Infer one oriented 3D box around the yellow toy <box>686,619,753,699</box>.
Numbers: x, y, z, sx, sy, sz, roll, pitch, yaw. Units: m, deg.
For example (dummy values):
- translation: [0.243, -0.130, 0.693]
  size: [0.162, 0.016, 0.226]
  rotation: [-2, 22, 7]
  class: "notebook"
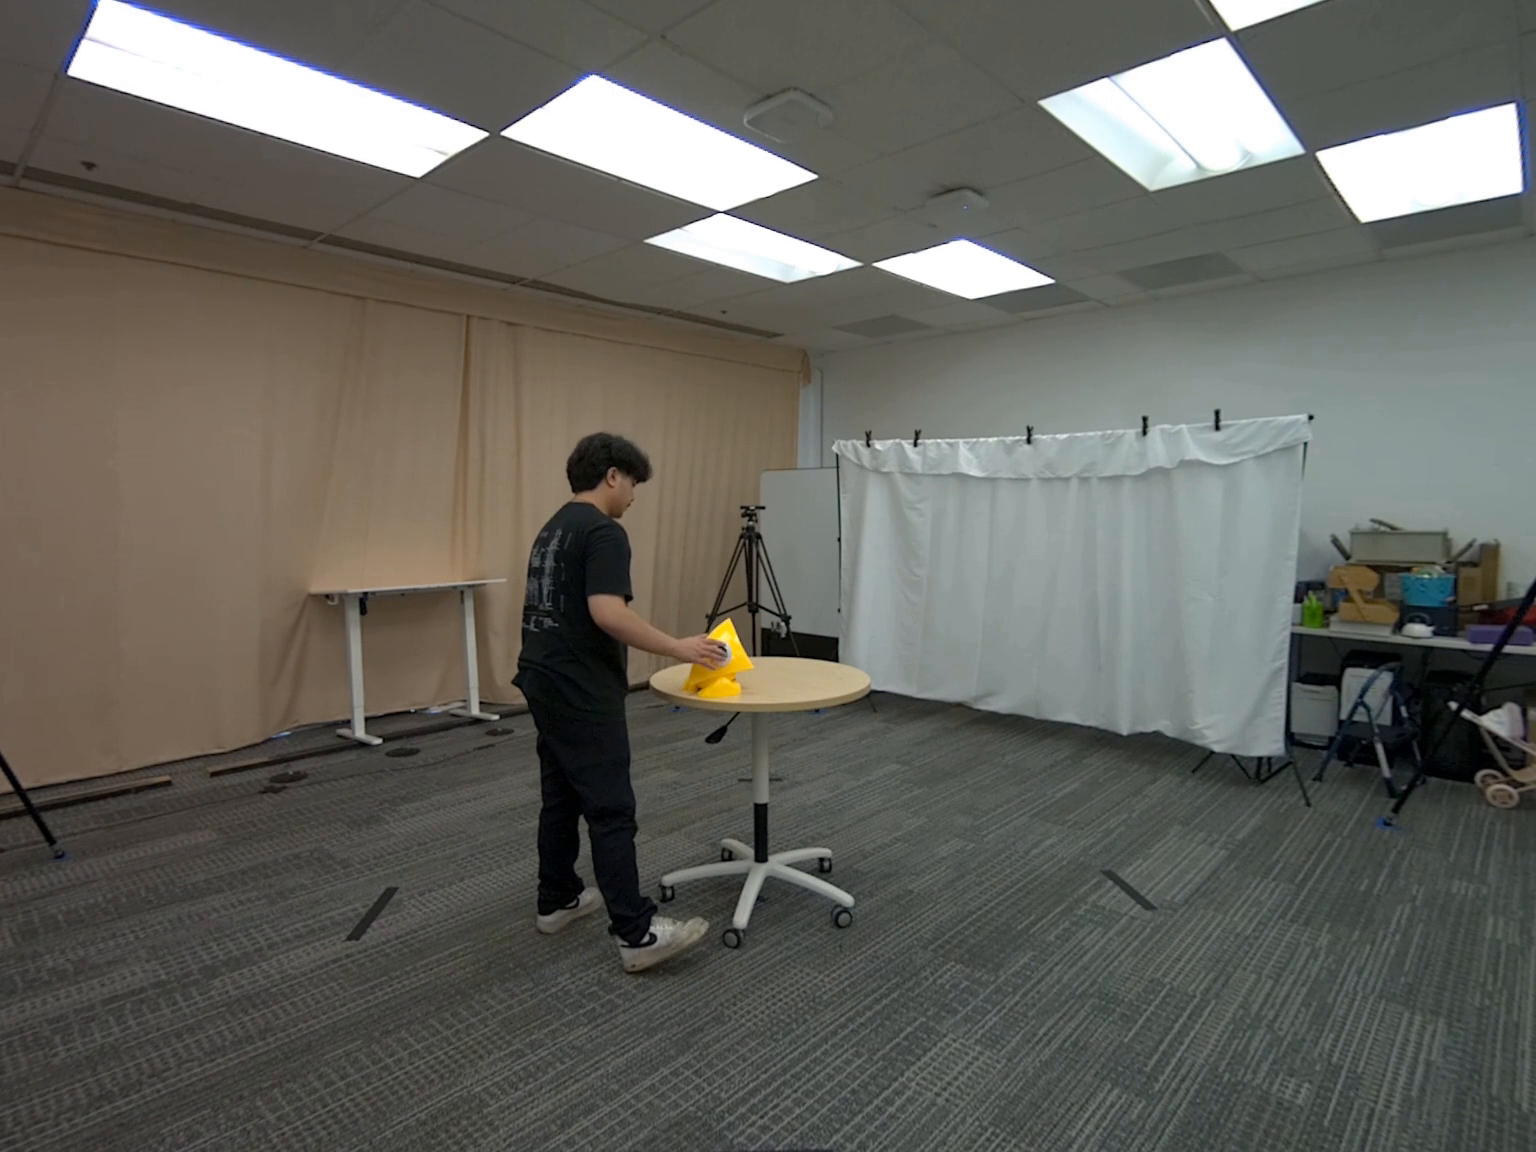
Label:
- translation: [-0.175, 0.261, 2.737]
  size: [0.188, 0.230, 0.211]
  rotation: [-3, 6, -31]
  class: "yellow toy"
